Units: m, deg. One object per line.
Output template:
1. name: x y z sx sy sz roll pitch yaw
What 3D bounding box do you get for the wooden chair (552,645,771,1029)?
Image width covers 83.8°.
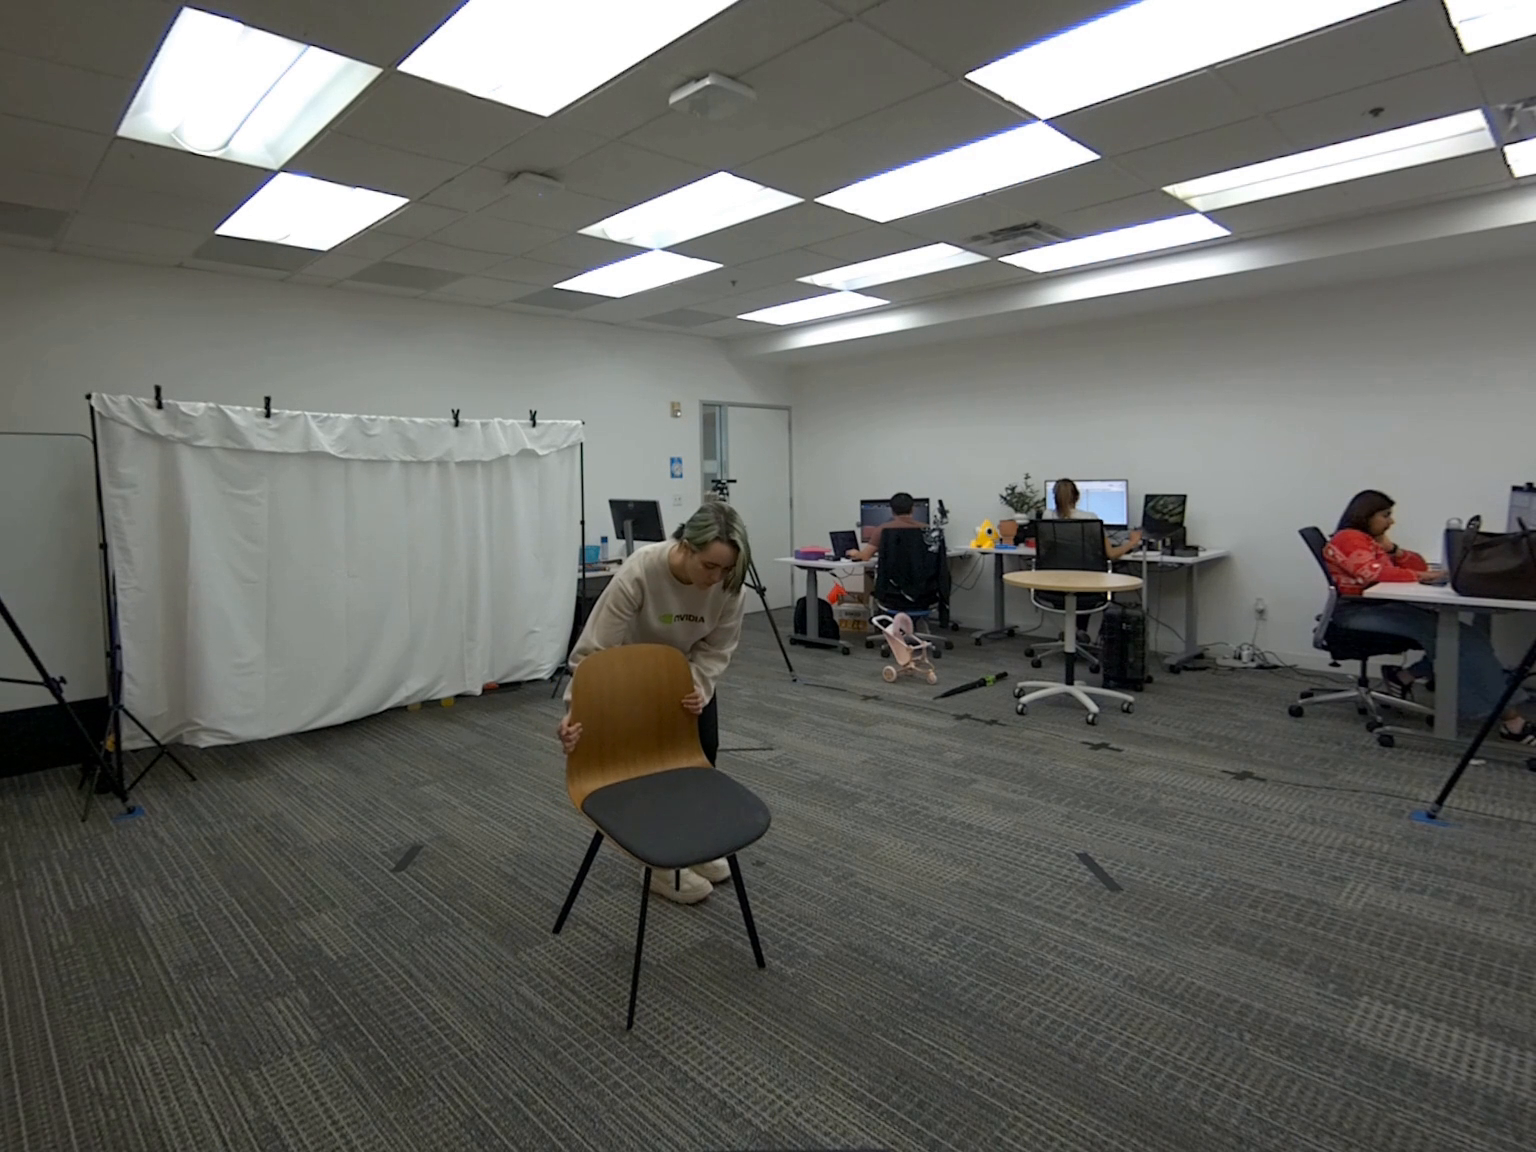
1. wooden chair: -0.286 0.684 2.404 0.466 0.872 0.540 -4 9 -38
